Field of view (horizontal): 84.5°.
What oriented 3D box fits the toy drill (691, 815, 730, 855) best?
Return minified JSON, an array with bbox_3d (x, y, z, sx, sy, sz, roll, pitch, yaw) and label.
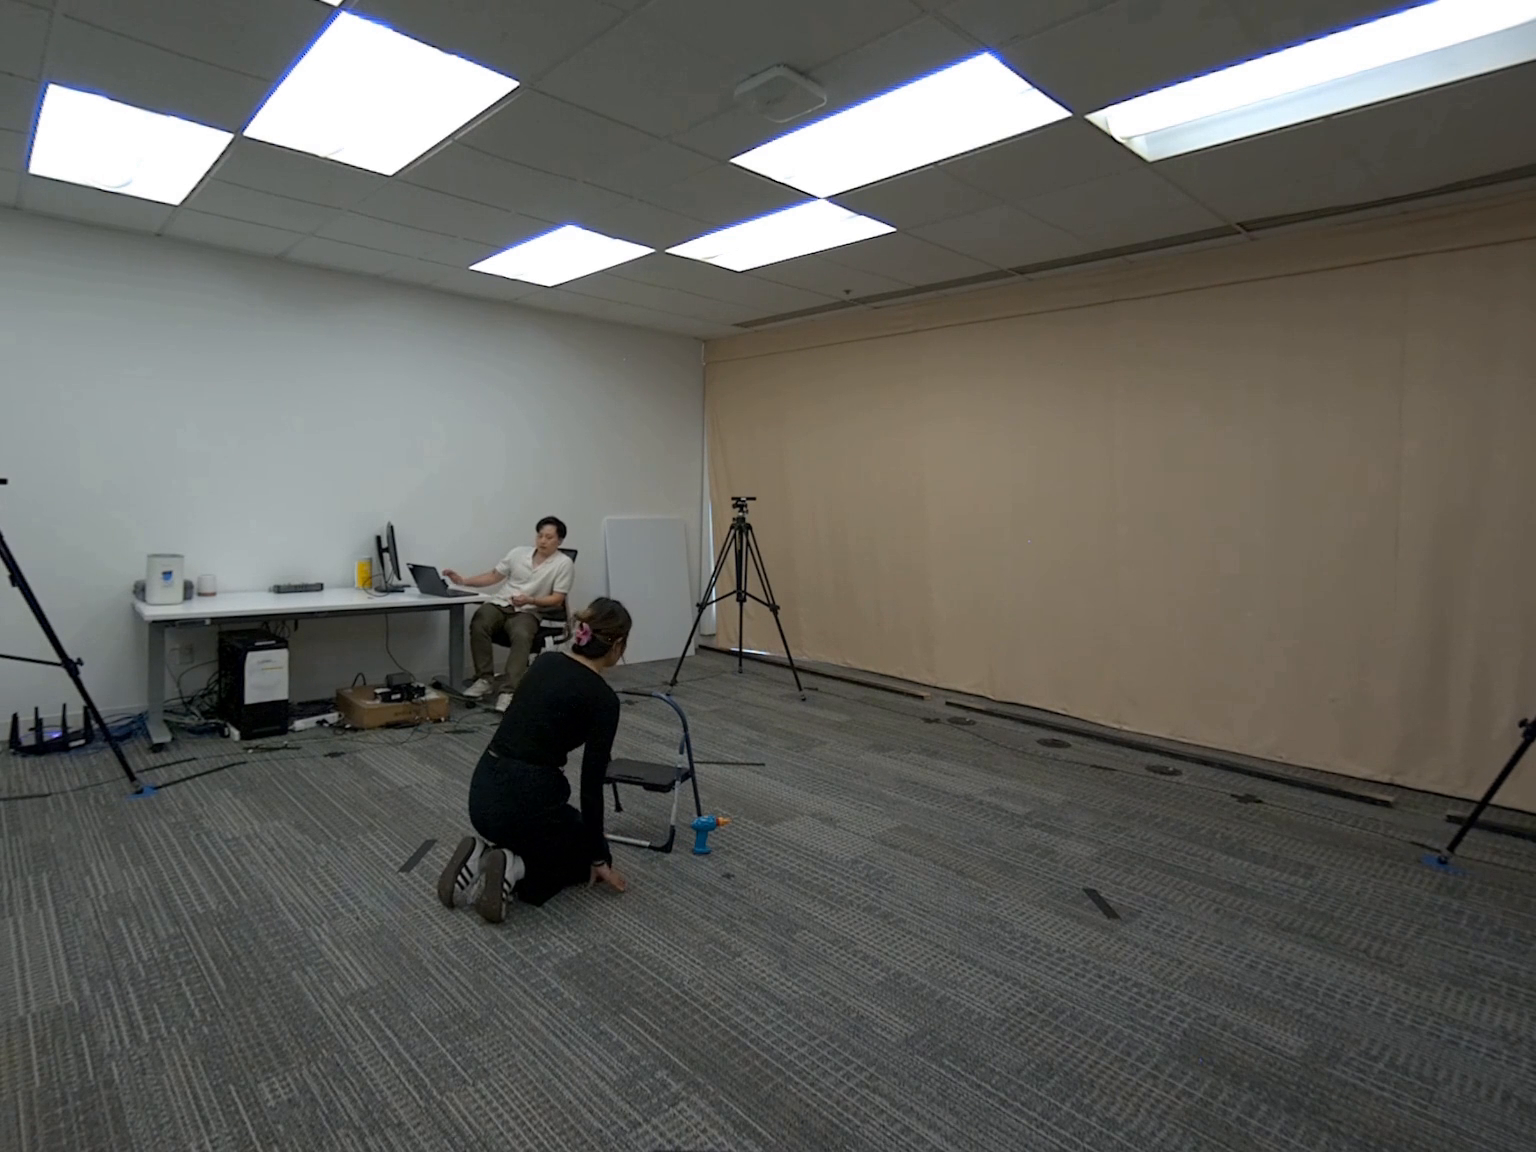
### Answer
[{"bbox_3d":[-0.236,1.017,3.310,0.167,0.145,0.062,0,5,-22],"label":"toy drill"}]
